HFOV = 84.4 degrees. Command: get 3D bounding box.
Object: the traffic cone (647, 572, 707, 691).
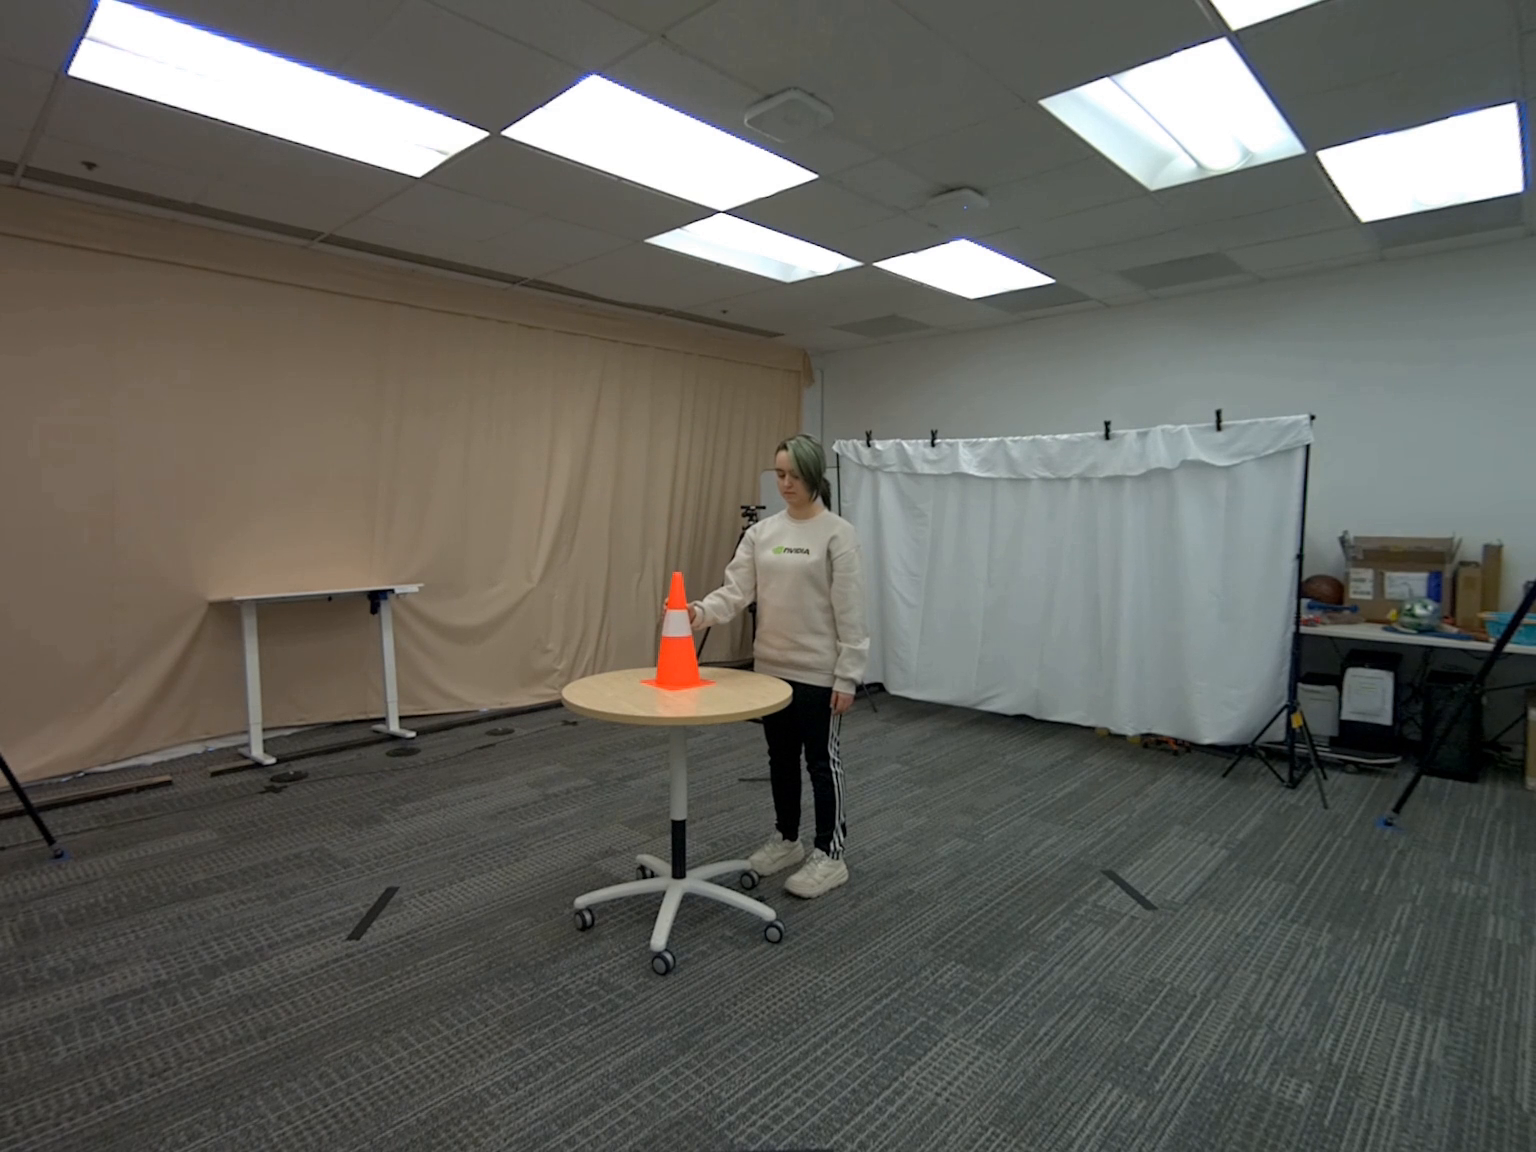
[{"bbox_3d":[-0.327,0.186,2.904,0.211,0.383,0.197,-2,2,41],"label":"traffic cone"}]
